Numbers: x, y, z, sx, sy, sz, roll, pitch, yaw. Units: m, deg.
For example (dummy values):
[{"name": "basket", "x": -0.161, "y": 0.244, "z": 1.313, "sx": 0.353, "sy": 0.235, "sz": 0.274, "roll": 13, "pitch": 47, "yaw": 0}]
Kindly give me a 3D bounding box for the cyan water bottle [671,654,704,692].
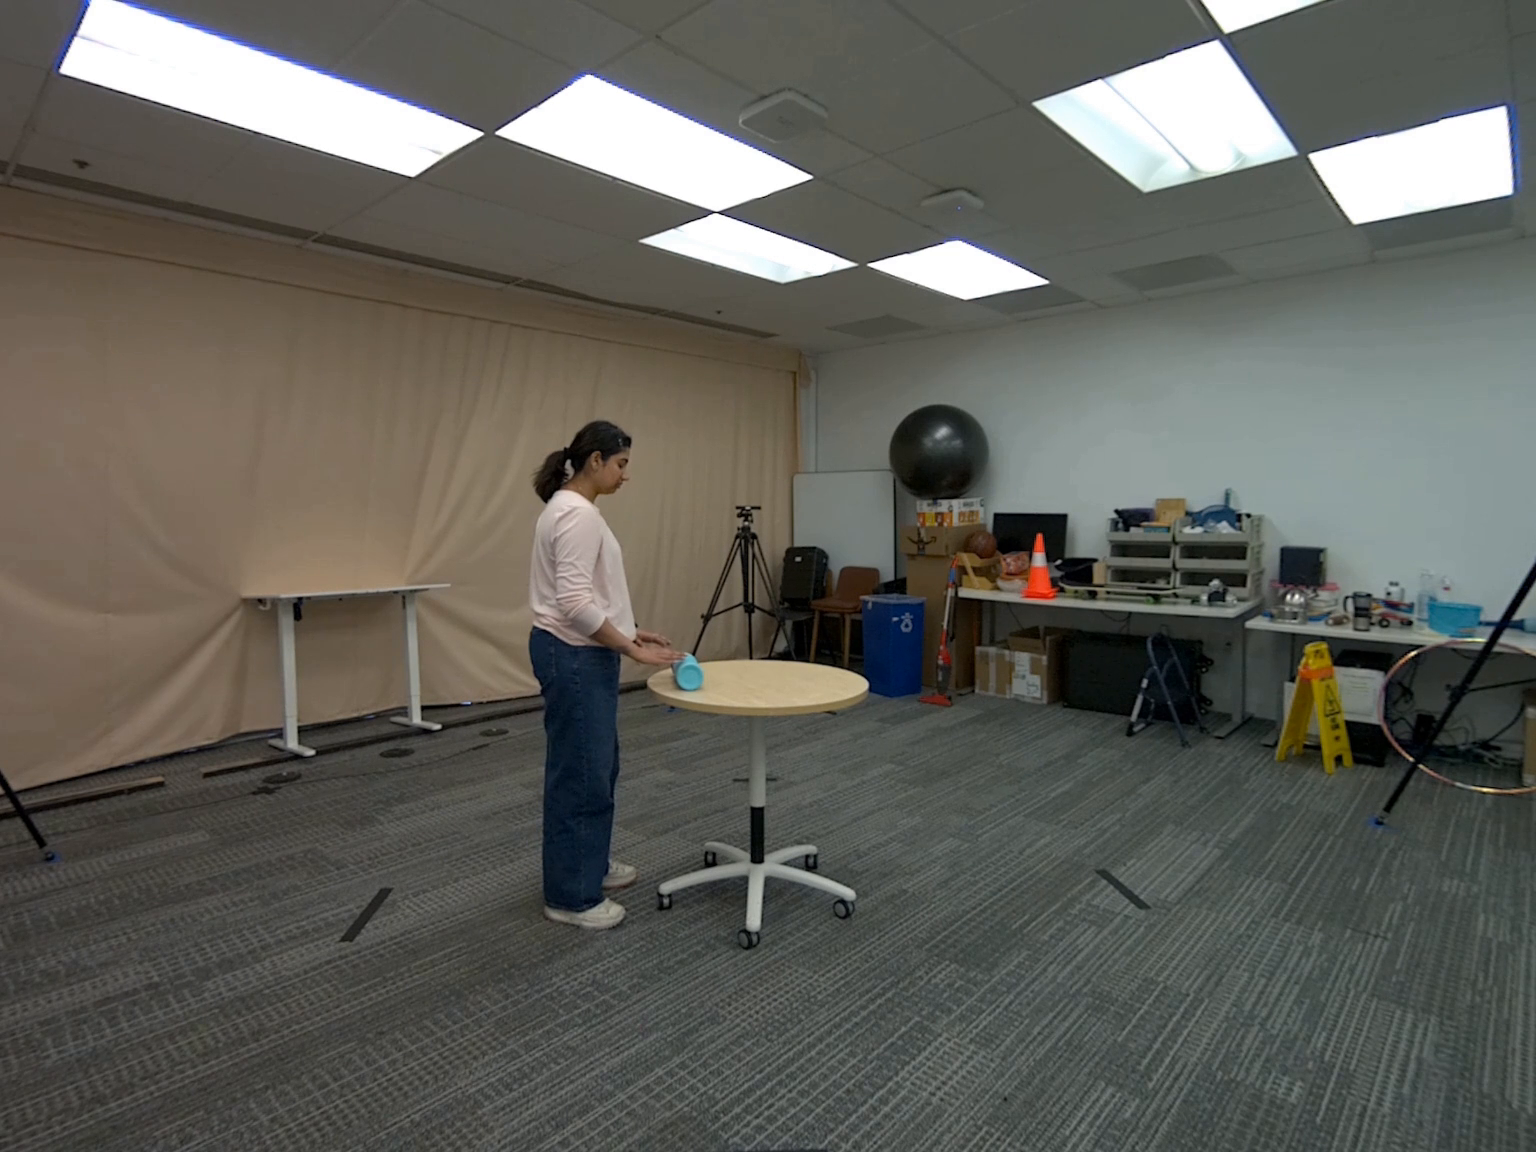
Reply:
[{"name": "cyan water bottle", "x": -0.275, "y": 0.321, "z": 2.899, "sx": 0.091, "sy": 0.092, "sz": 0.287, "roll": -1, "pitch": 5, "yaw": -12}]
